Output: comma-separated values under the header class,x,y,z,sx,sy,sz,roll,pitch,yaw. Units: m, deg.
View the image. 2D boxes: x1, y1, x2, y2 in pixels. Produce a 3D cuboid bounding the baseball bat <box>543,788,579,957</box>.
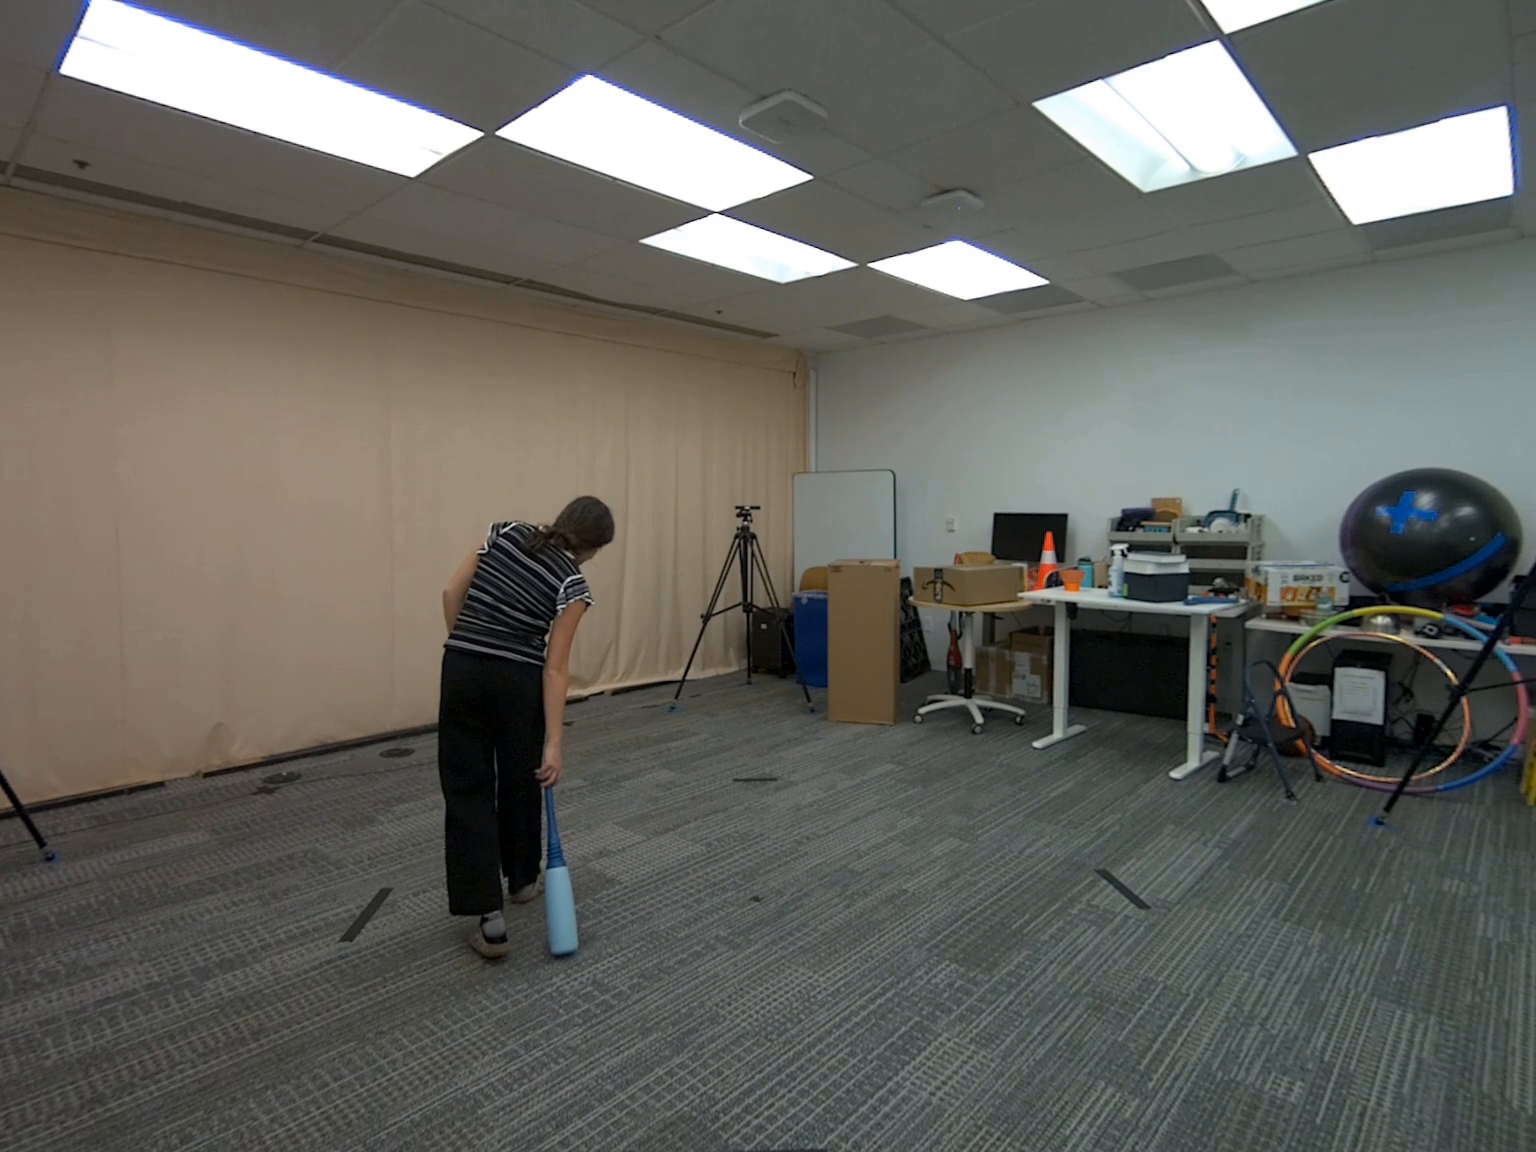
class,x,y,z,sx,sy,sz,roll,pitch,yaw
baseball bat,-0.682,0.923,2.697,0.088,0.552,0.088,-10,-21,-6
